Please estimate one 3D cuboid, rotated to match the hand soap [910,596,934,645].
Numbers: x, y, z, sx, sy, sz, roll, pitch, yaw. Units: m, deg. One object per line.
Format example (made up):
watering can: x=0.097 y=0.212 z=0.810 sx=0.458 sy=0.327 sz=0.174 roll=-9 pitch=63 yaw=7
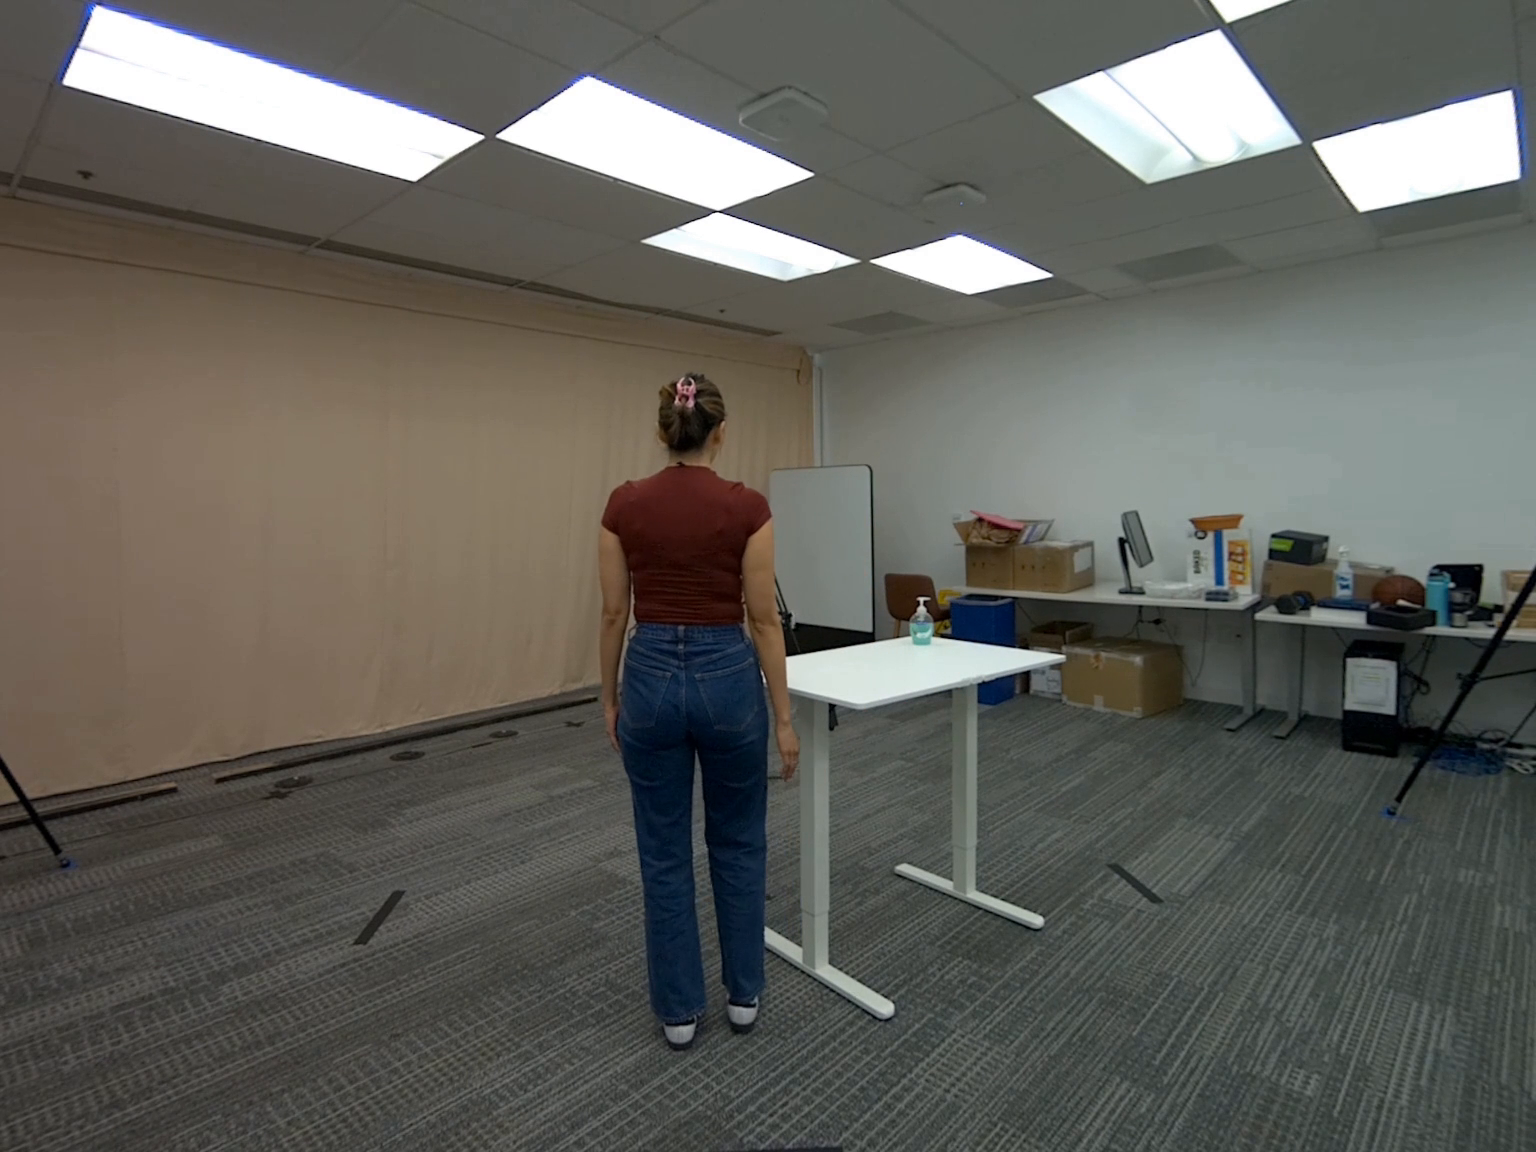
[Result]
hand soap: x=0.554 y=0.163 z=3.004 sx=0.084 sy=0.168 sz=0.043 roll=0 pitch=1 yaw=-2
